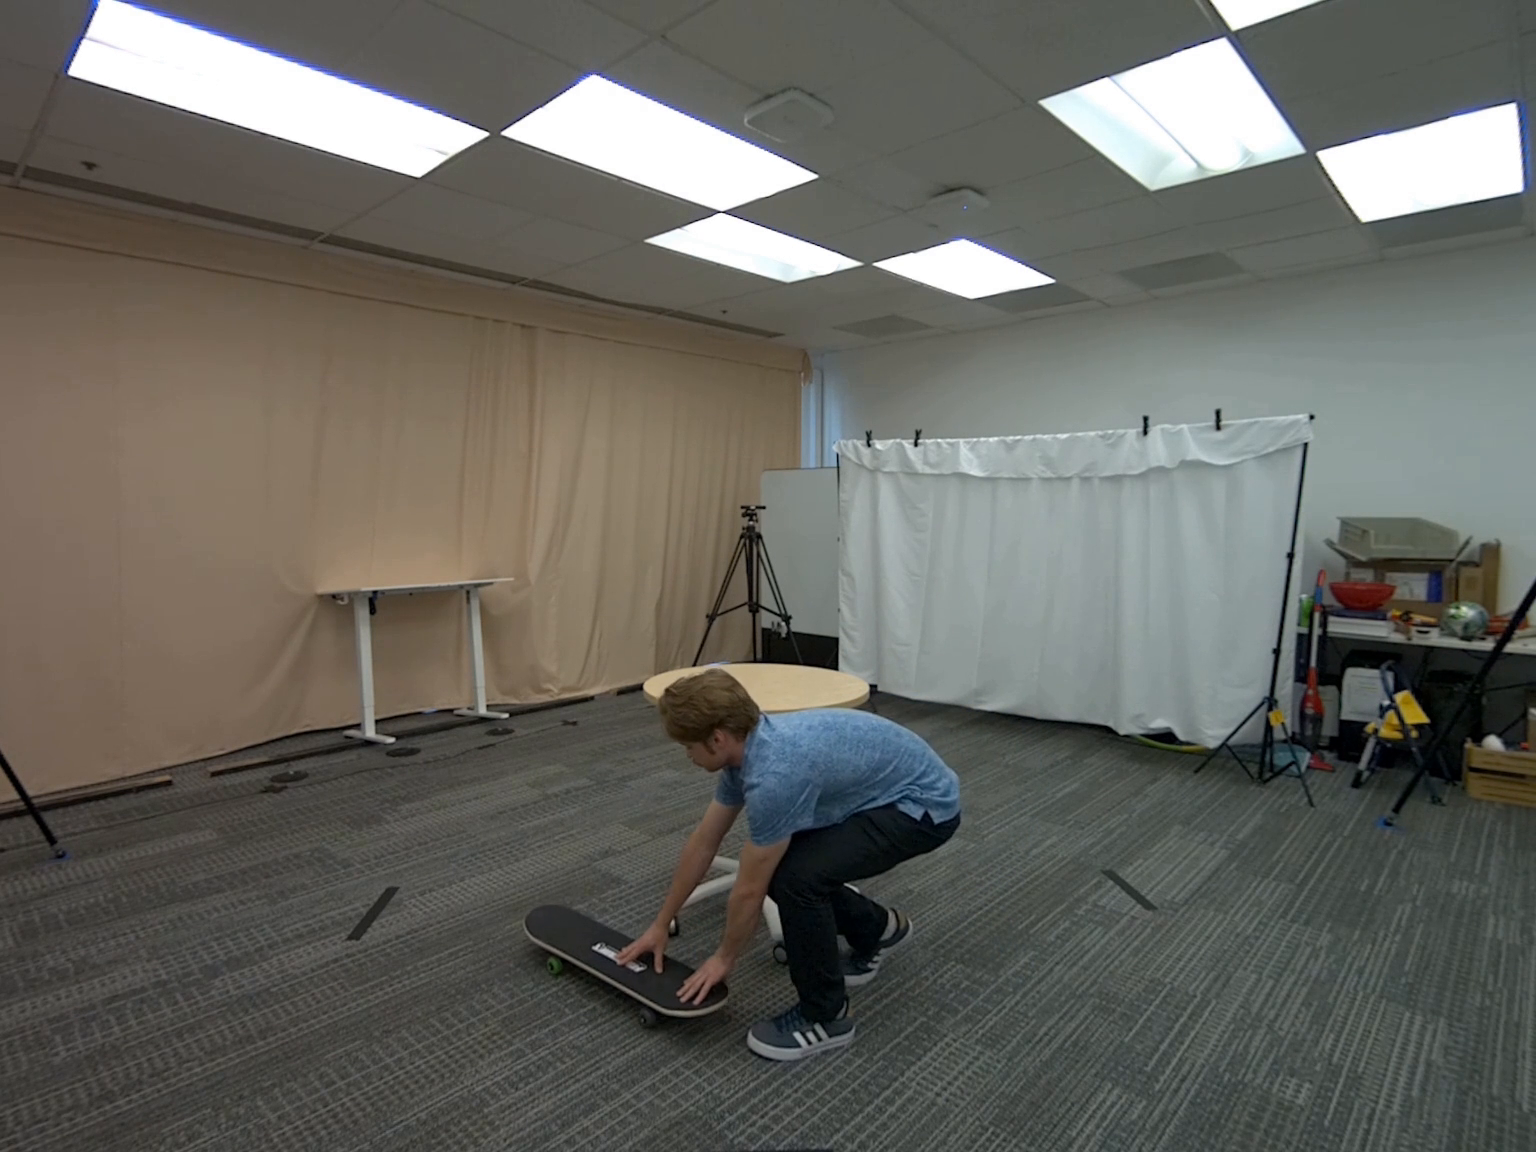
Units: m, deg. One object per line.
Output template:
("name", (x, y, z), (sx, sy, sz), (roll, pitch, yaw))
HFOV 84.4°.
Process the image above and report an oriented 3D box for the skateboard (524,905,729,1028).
("skateboard", (-0.428, 1.138, 2.436), (0.811, 0.110, 0.187), (4, 5, 40))
